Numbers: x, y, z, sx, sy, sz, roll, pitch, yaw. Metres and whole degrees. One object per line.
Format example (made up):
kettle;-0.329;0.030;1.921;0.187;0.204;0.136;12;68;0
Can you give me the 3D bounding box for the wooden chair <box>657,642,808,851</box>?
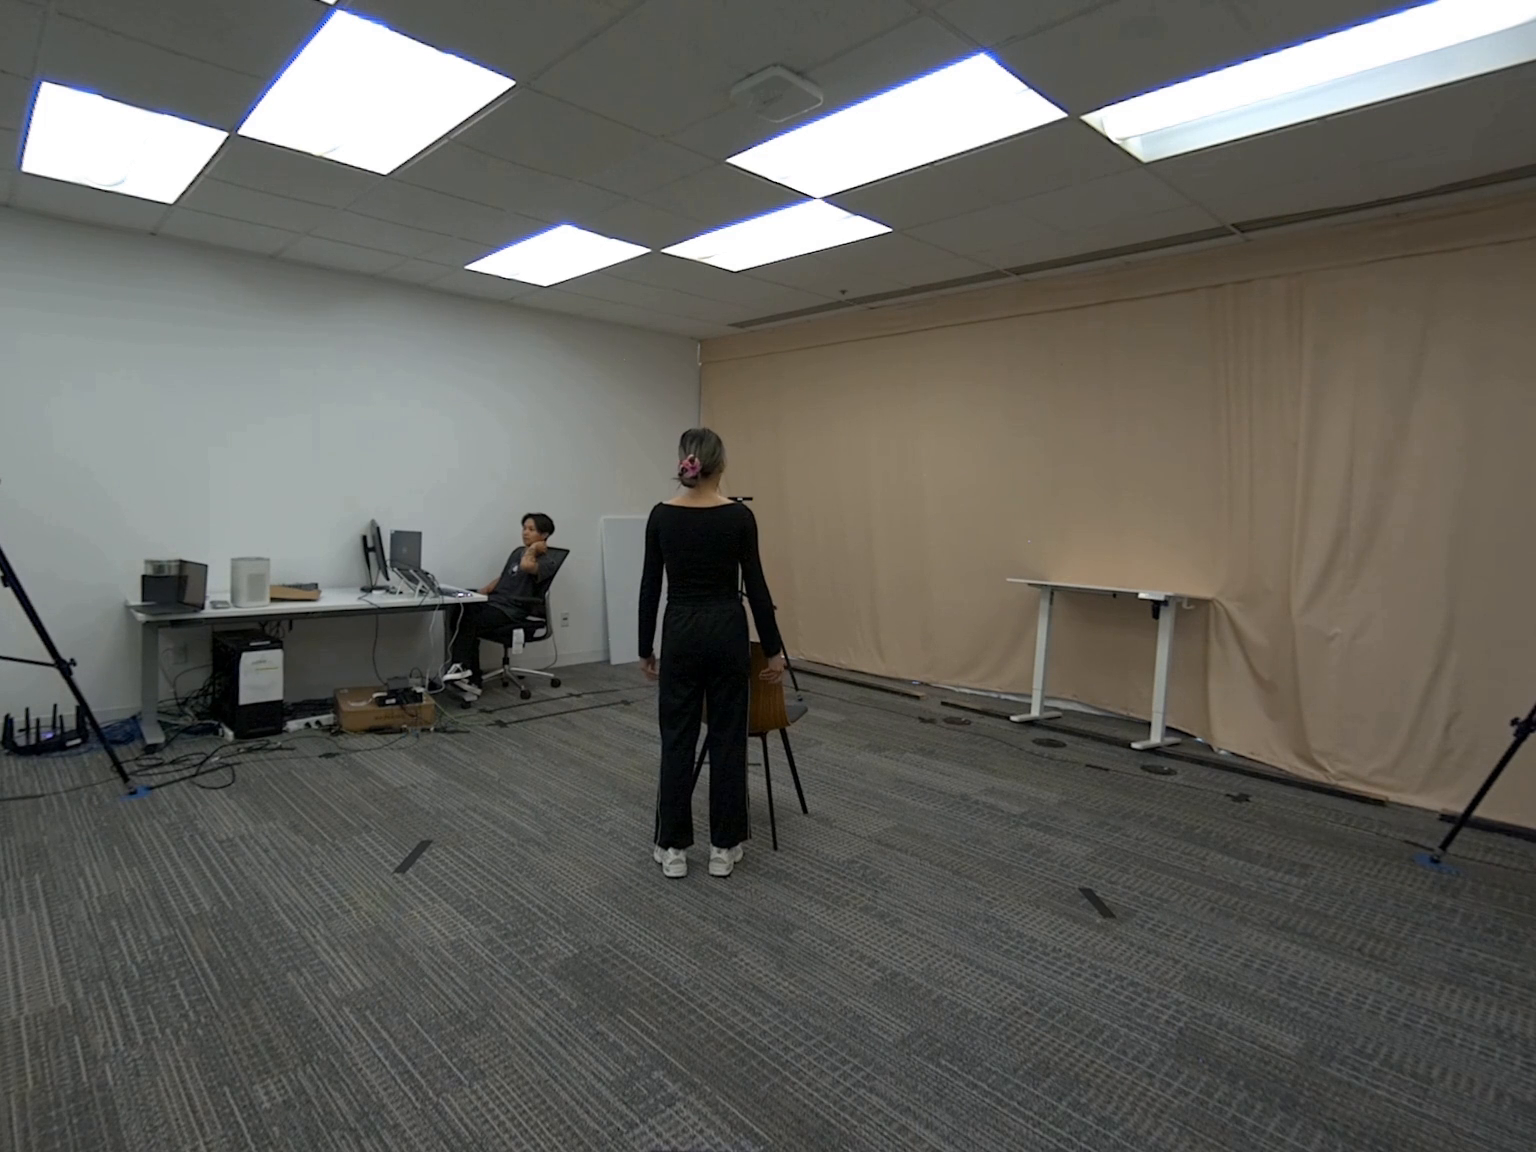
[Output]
wooden chair;-0.102;0.637;3.602;0.486;0.872;0.517;3;8;20
